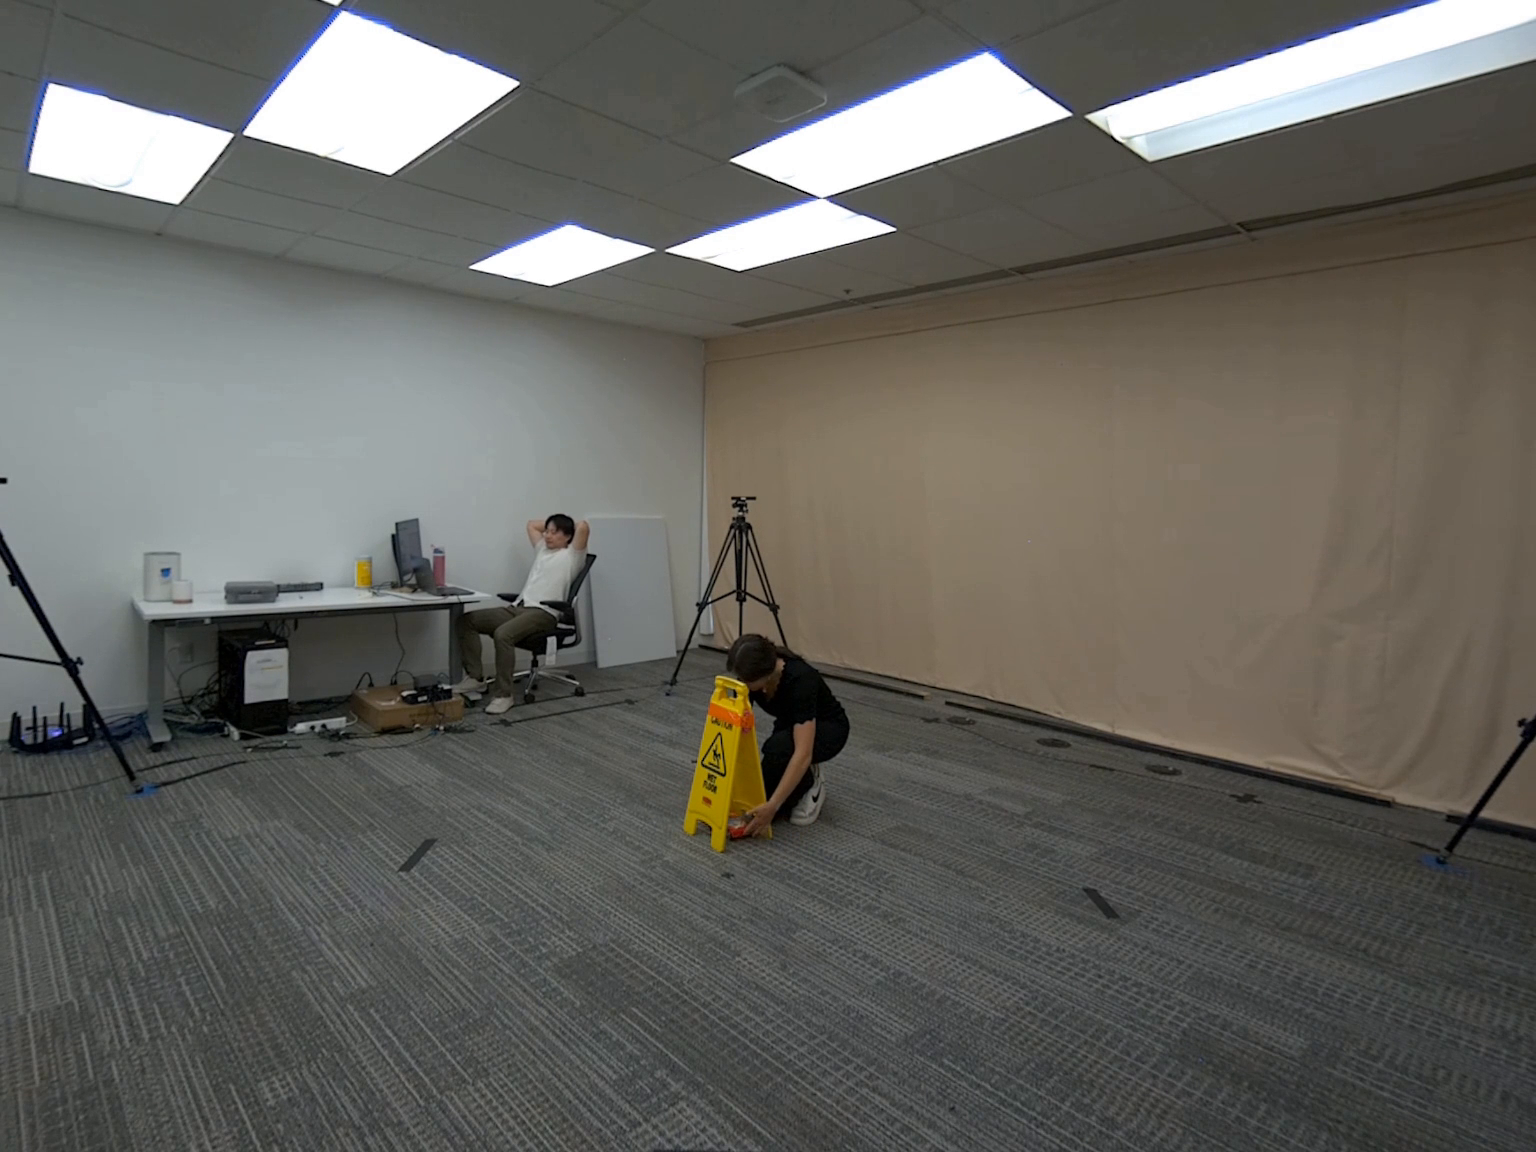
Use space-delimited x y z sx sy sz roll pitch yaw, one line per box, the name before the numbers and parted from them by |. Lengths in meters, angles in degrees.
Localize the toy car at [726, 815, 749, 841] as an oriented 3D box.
toy car | -0.175 1.026 3.530 0.128 0.082 0.262 -3 16 -31
